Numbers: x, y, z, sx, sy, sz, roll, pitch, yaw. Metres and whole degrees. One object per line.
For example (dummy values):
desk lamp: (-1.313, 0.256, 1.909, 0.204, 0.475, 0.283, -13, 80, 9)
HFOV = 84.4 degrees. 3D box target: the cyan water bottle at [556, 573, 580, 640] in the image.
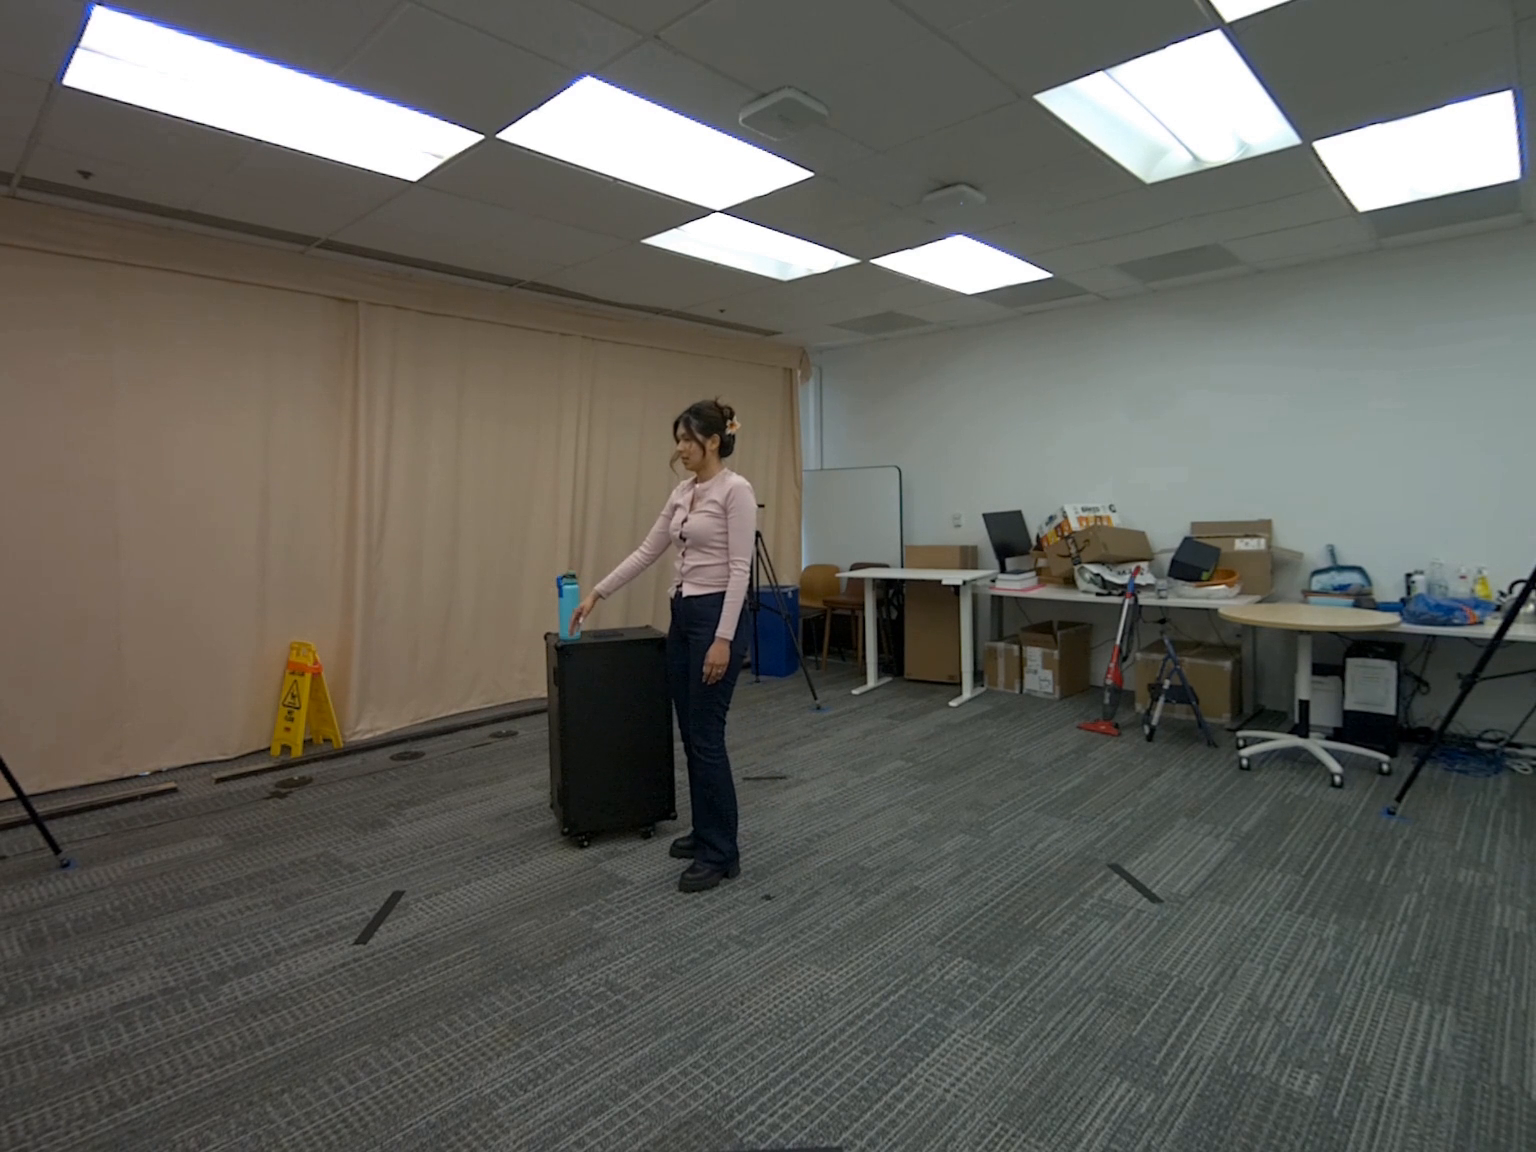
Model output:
cyan water bottle: (-0.846, 0.122, 3.545, 0.092, 0.283, 0.092, -2, 2, -2)
